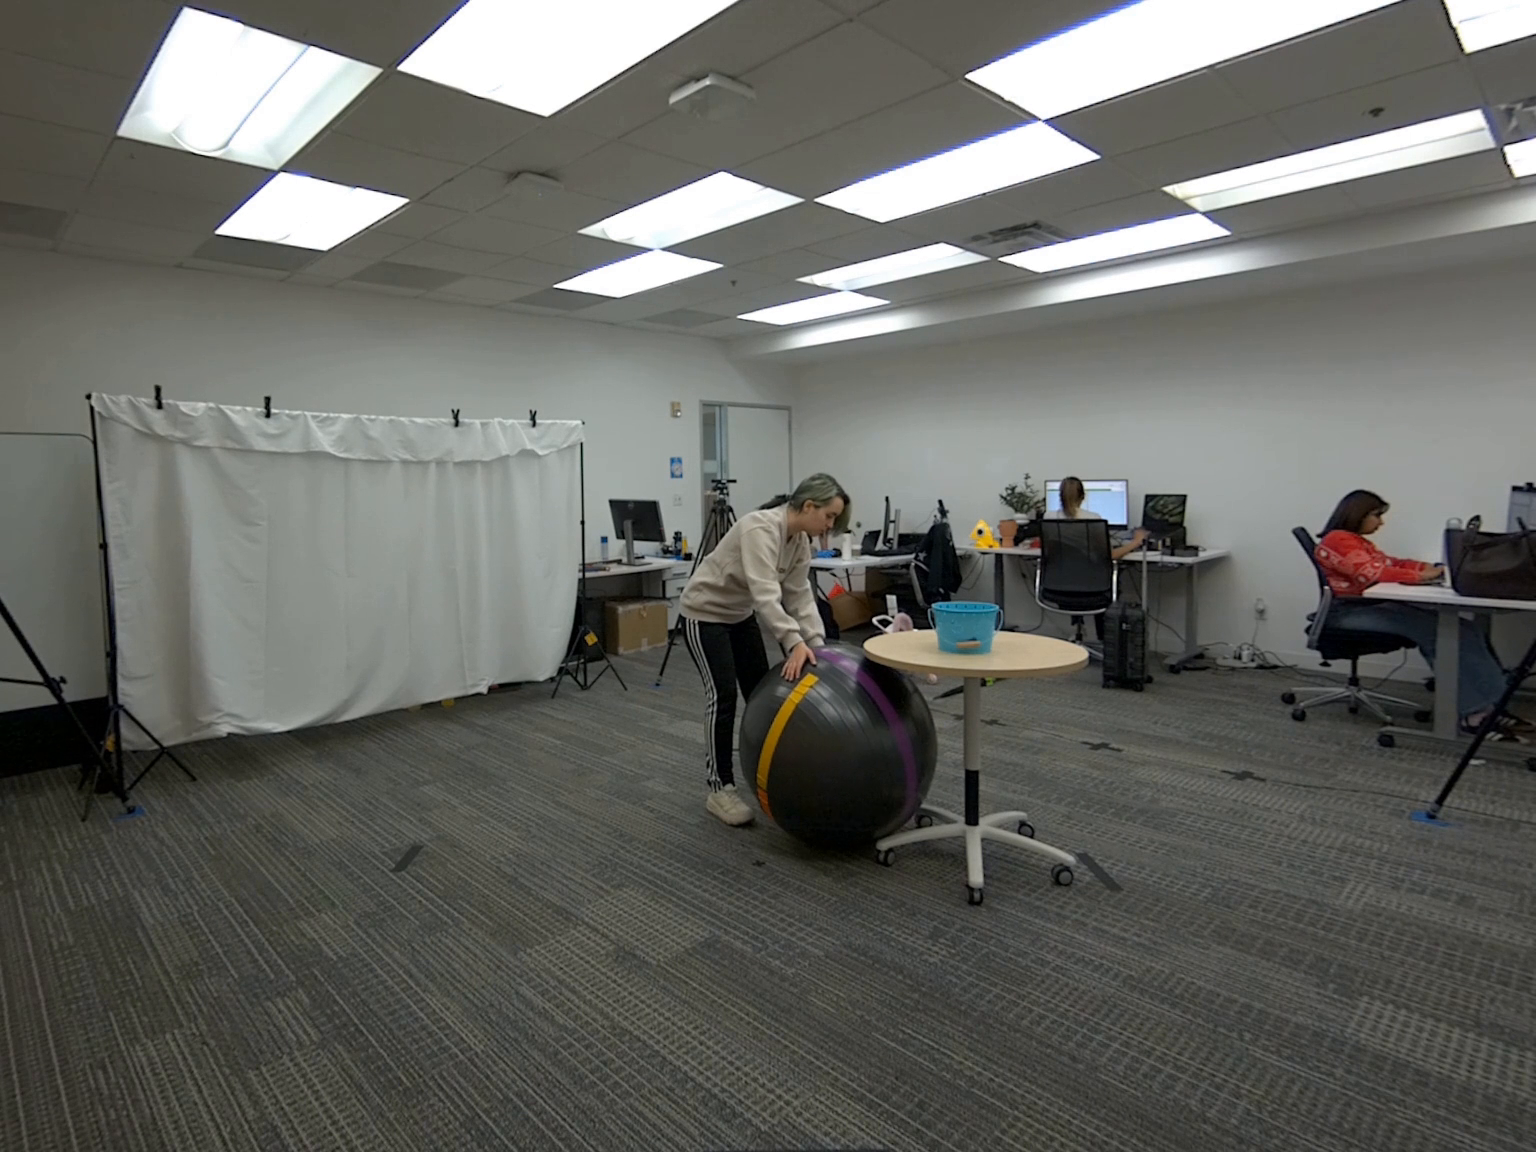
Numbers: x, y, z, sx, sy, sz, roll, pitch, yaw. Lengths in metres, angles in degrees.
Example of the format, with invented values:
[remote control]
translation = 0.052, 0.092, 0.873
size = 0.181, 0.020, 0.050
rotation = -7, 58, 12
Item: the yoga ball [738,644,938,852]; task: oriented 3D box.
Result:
[yoga ball]
translation = 0.268, 0.651, 3.292
size = 0.757, 0.755, 0.762
rotation = -1, 5, -2
